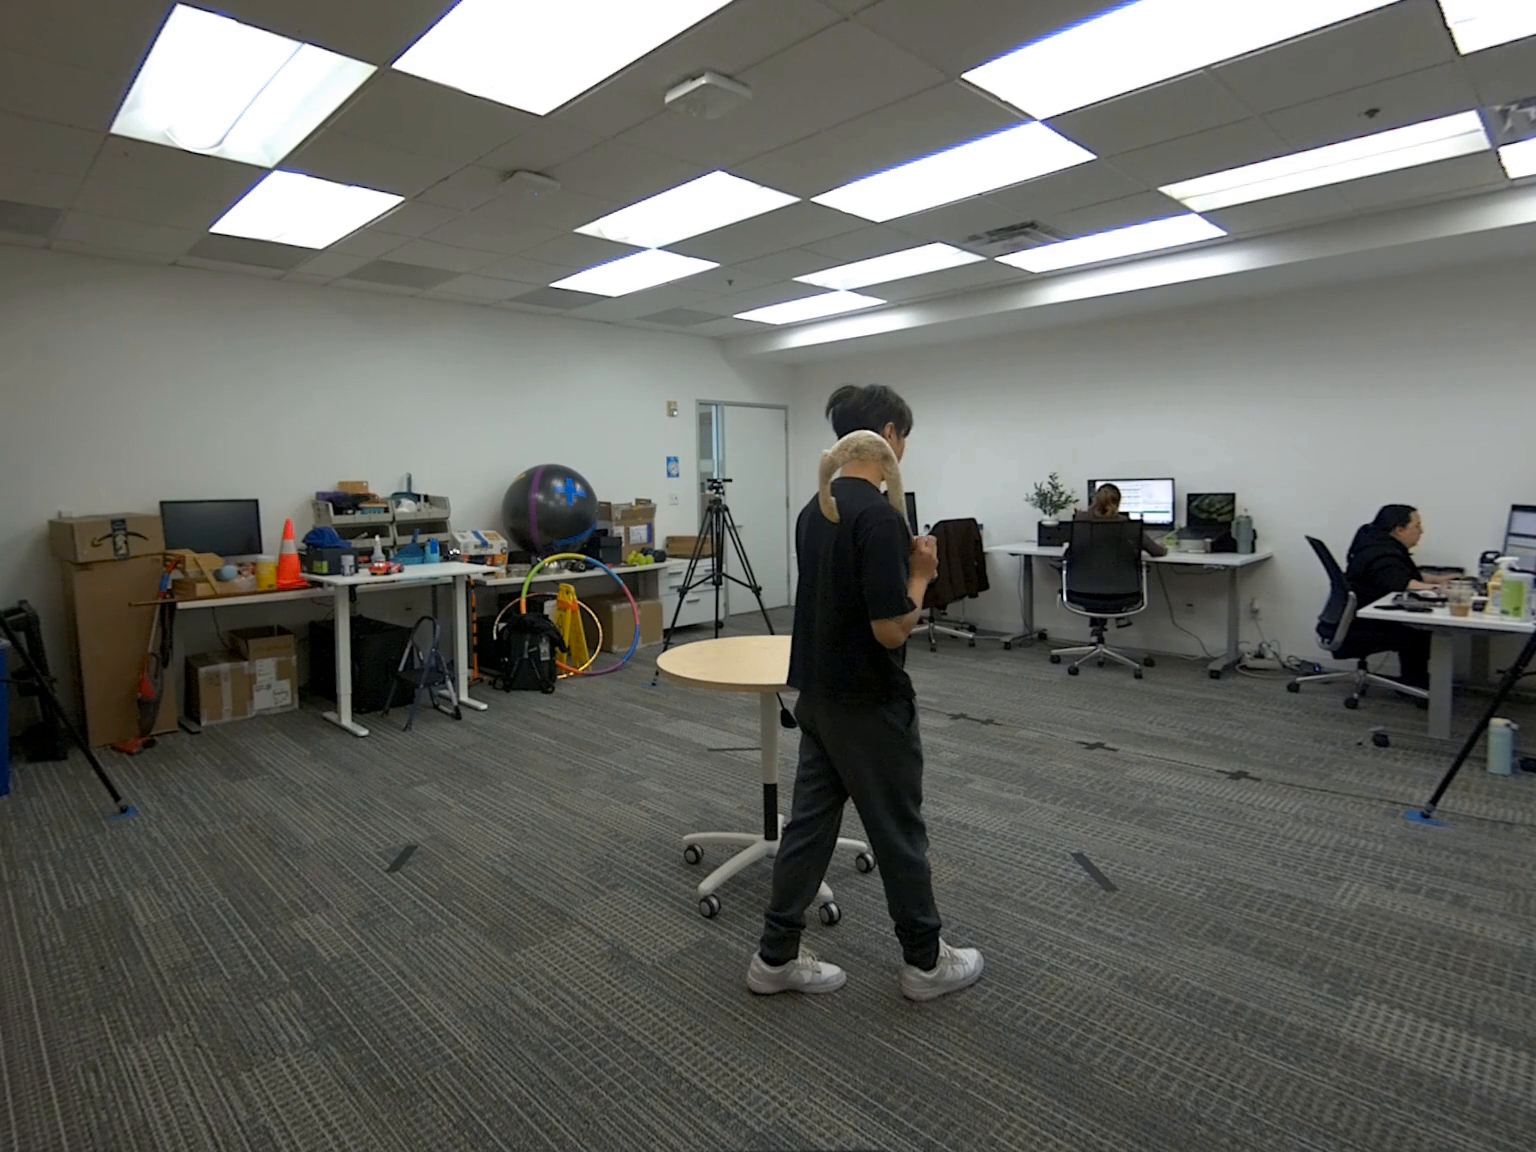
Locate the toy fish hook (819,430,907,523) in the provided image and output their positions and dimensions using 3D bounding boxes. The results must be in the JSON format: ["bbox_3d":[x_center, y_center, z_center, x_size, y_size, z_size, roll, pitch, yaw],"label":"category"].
[{"bbox_3d":[0.286,-0.144,2.198,0.224,0.491,0.050,-32,26,1],"label":"toy fish hook"}]
